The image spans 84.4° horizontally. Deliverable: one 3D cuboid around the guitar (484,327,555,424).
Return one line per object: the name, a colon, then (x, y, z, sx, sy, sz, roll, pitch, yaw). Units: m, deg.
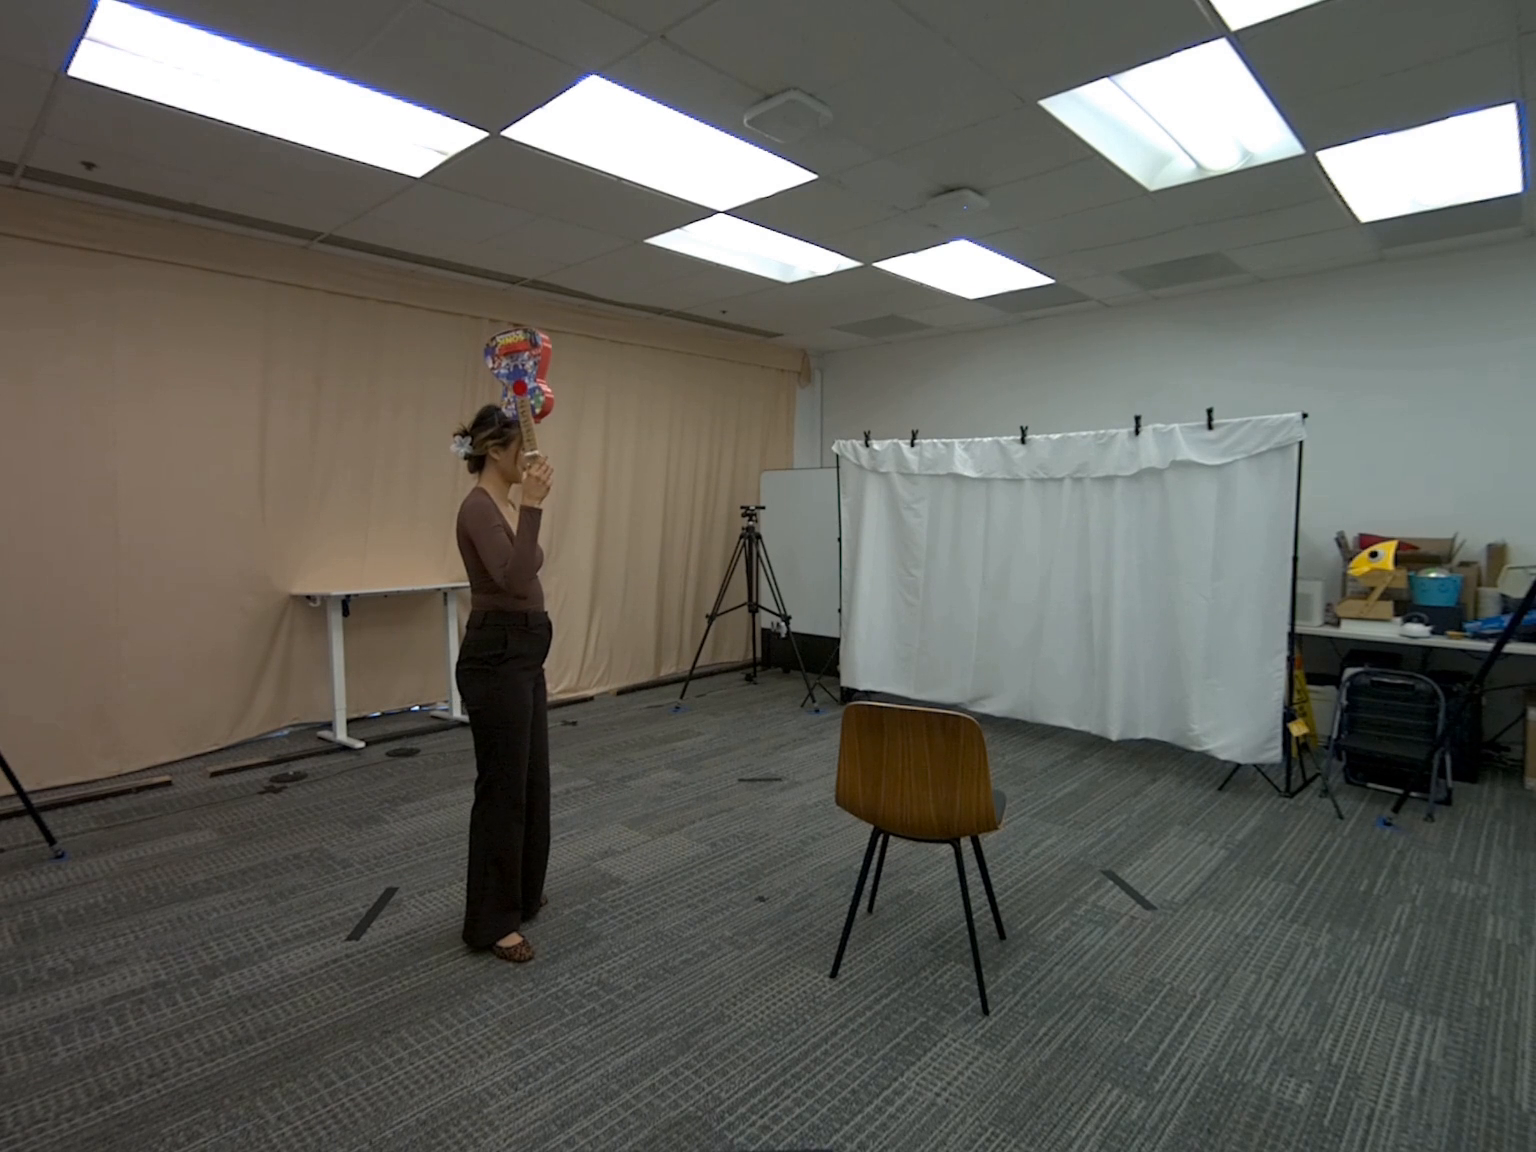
guitar: (-0.731, -0.476, 2.478, 0.195, 0.497, 0.070, 0, 1, 12)
